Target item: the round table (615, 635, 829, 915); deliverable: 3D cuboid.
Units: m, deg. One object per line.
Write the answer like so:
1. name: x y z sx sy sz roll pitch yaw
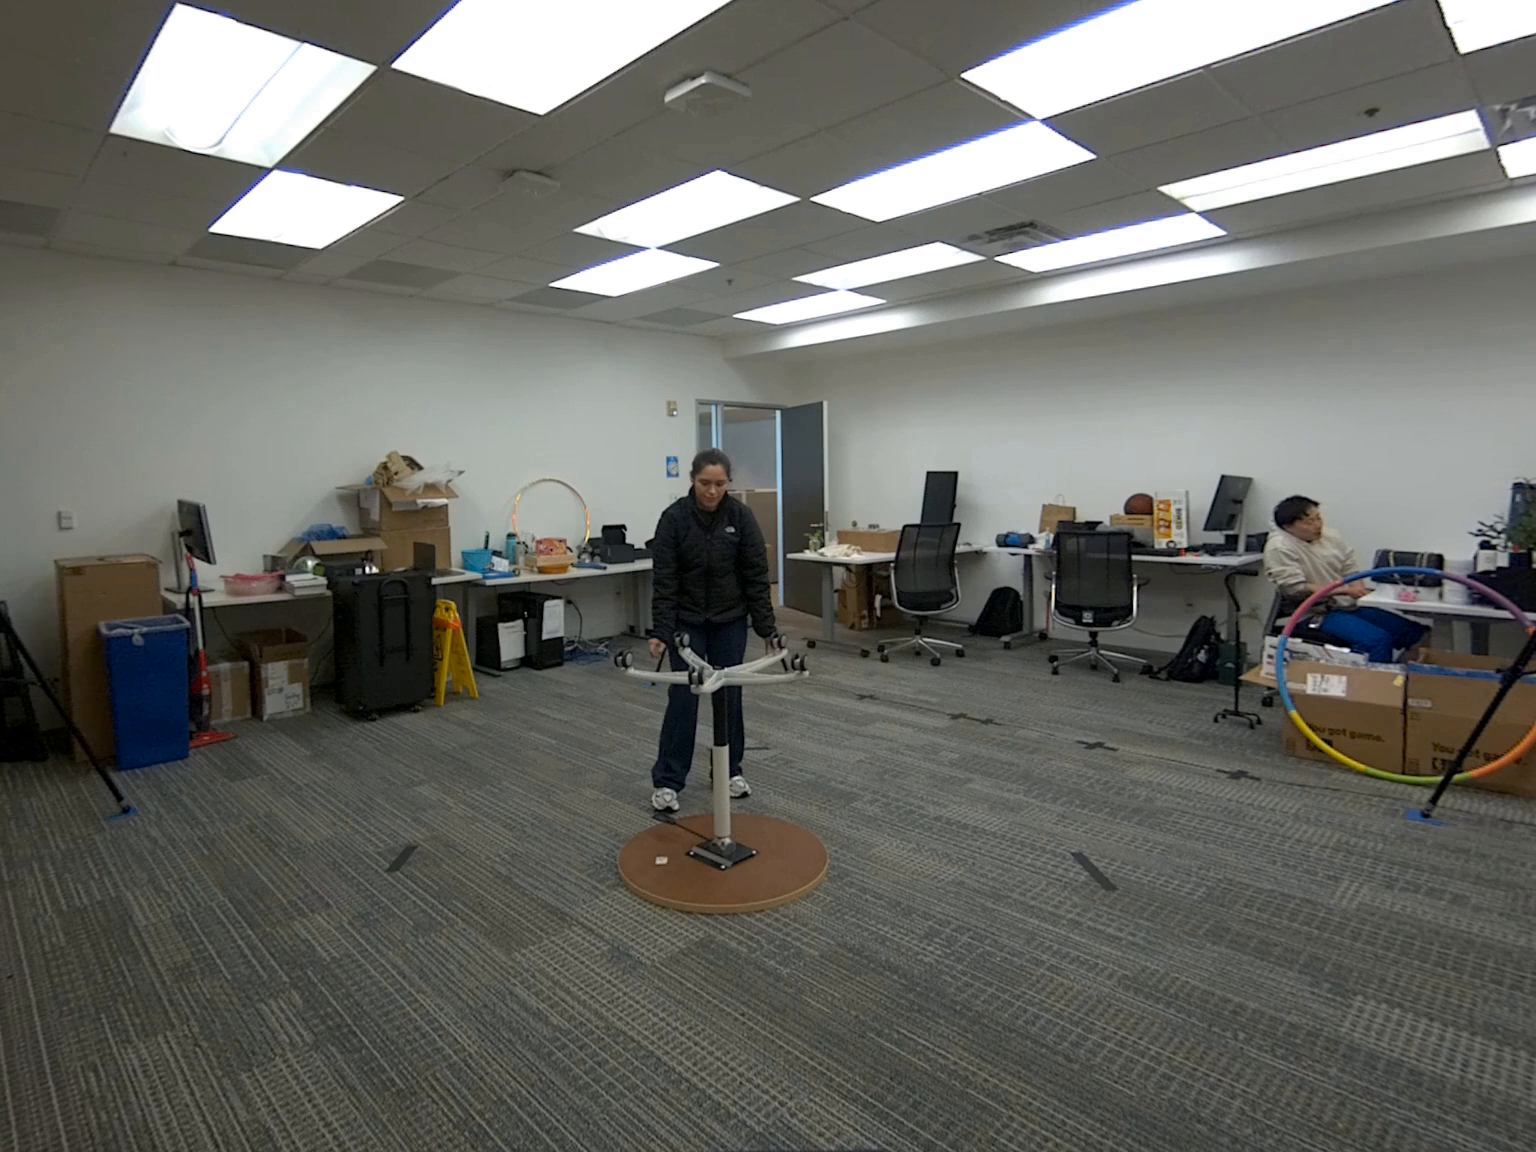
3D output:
1. round table: -0.183 0.648 3.120 0.784 0.783 0.789 -1 5 -2
